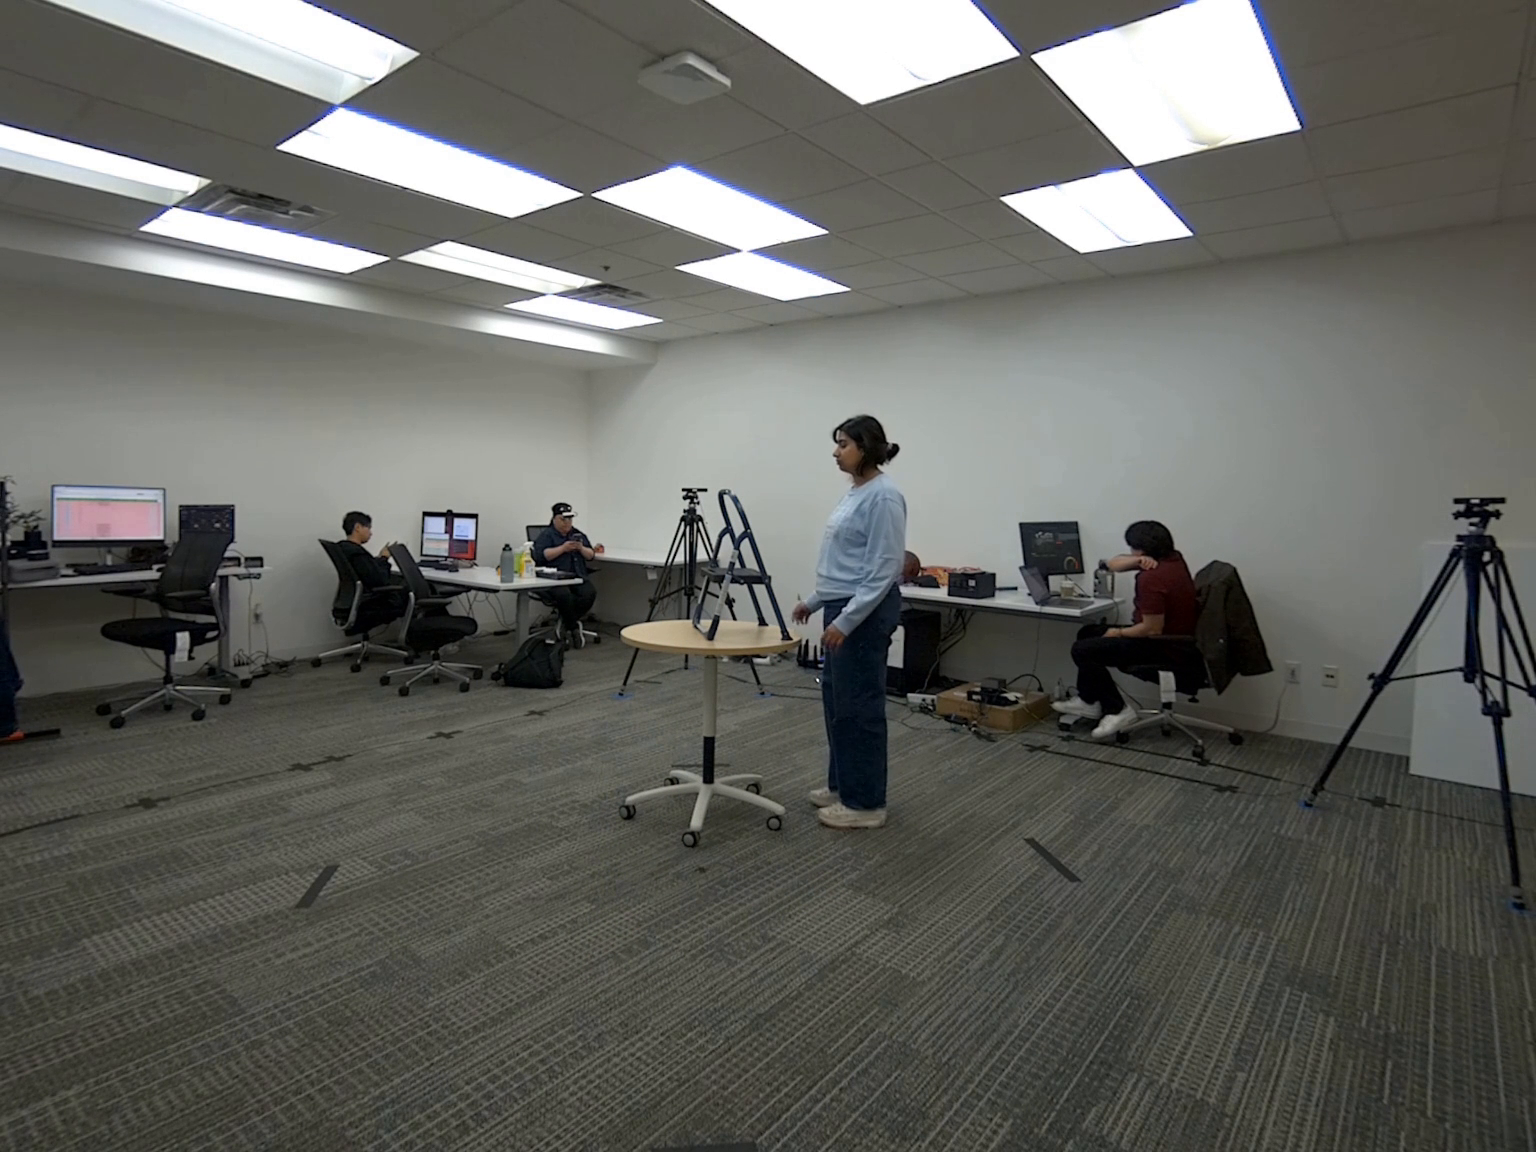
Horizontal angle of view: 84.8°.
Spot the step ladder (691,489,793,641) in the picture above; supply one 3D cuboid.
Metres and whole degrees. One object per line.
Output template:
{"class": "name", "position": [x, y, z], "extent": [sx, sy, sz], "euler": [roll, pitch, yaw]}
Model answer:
{"class": "step ladder", "position": [-0.123, -0.065, 3.622], "extent": [0.344, 0.605, 0.438], "euler": [2, 3, -14]}
